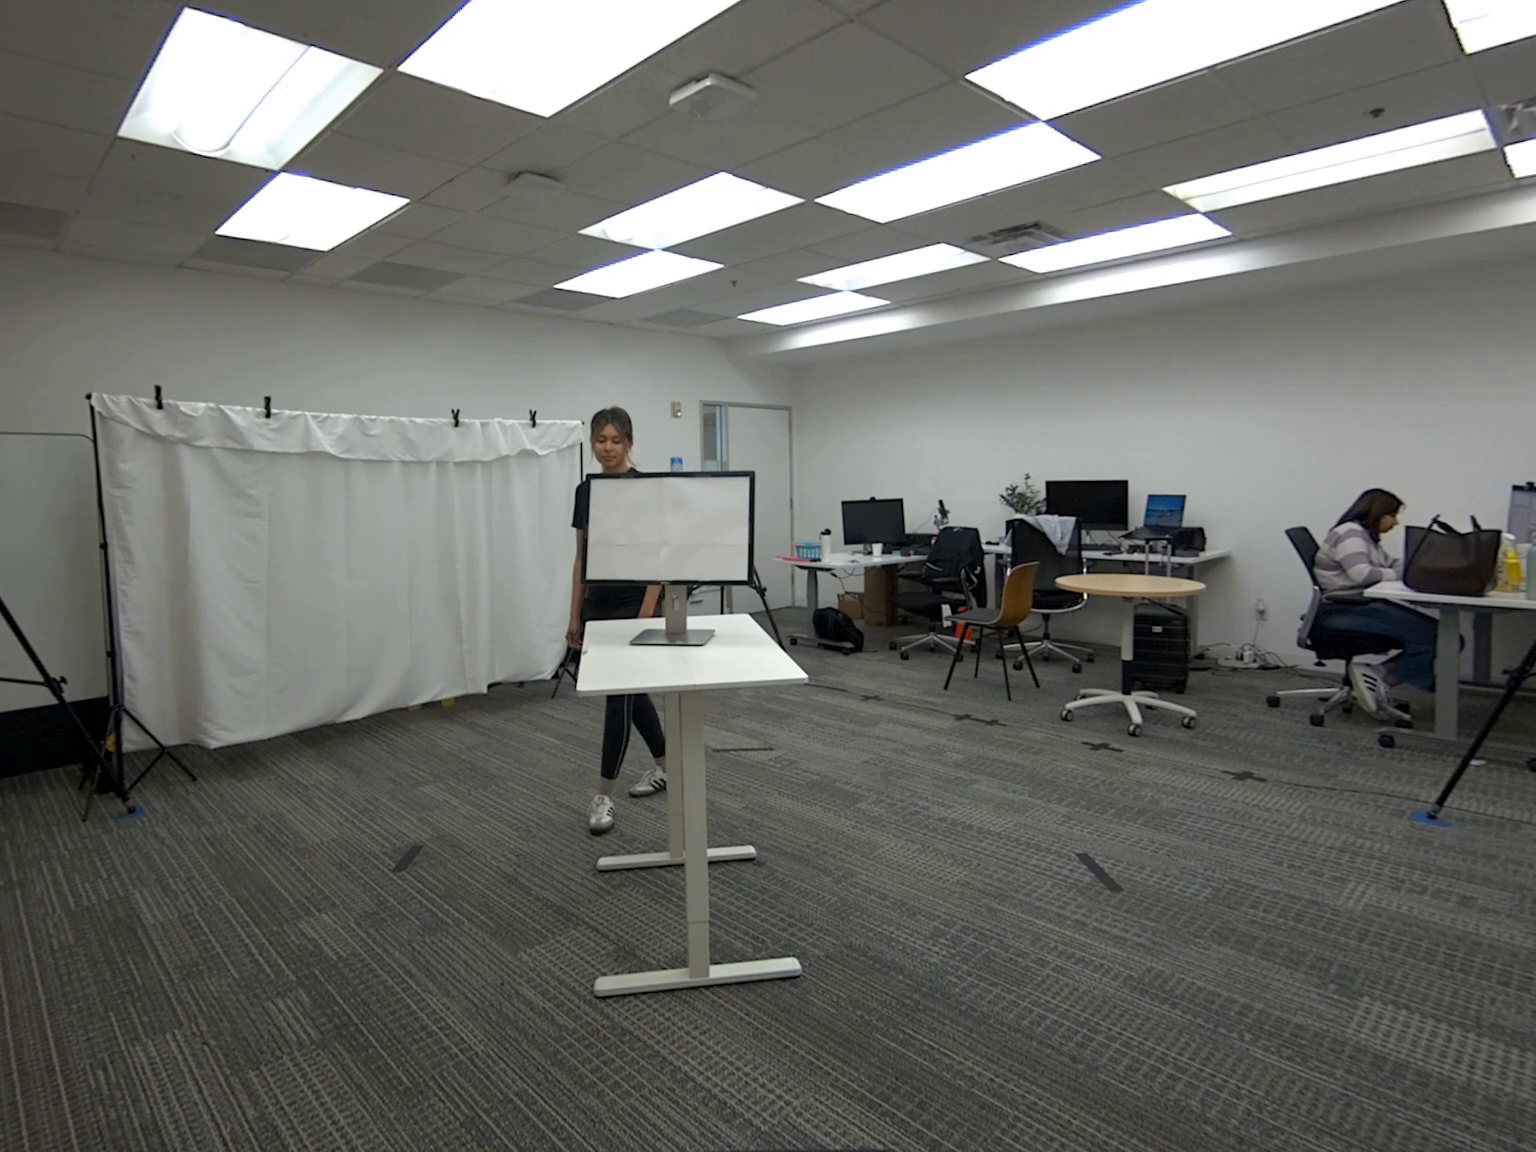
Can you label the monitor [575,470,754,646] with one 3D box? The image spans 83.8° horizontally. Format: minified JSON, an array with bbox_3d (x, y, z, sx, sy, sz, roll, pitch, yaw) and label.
[{"bbox_3d":[-0.300,-0.055,2.764,0.544,0.520,0.186,0,4,9],"label":"monitor"}]
